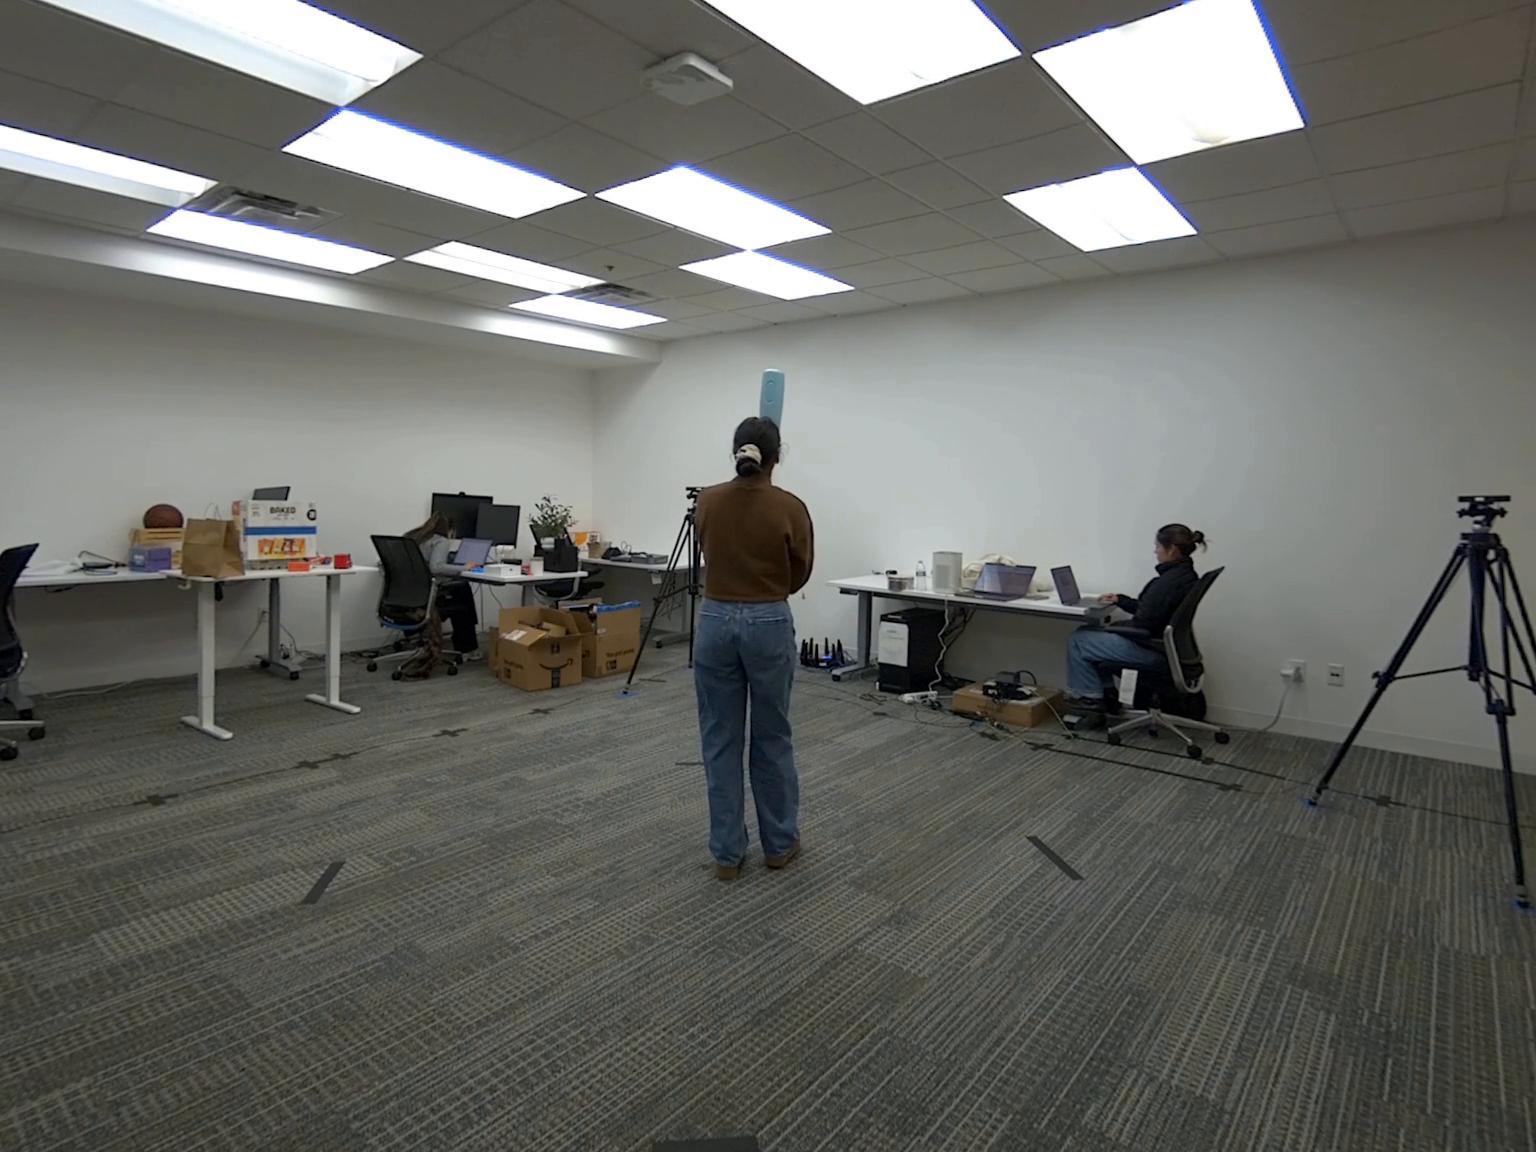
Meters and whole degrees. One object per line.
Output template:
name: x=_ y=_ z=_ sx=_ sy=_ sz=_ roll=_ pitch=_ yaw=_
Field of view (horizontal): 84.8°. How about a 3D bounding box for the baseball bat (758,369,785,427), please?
baseball bat: x=0.004 y=-0.520 z=3.251 sx=0.089 sy=0.541 sz=0.089 roll=2 pitch=3 yaw=-2
